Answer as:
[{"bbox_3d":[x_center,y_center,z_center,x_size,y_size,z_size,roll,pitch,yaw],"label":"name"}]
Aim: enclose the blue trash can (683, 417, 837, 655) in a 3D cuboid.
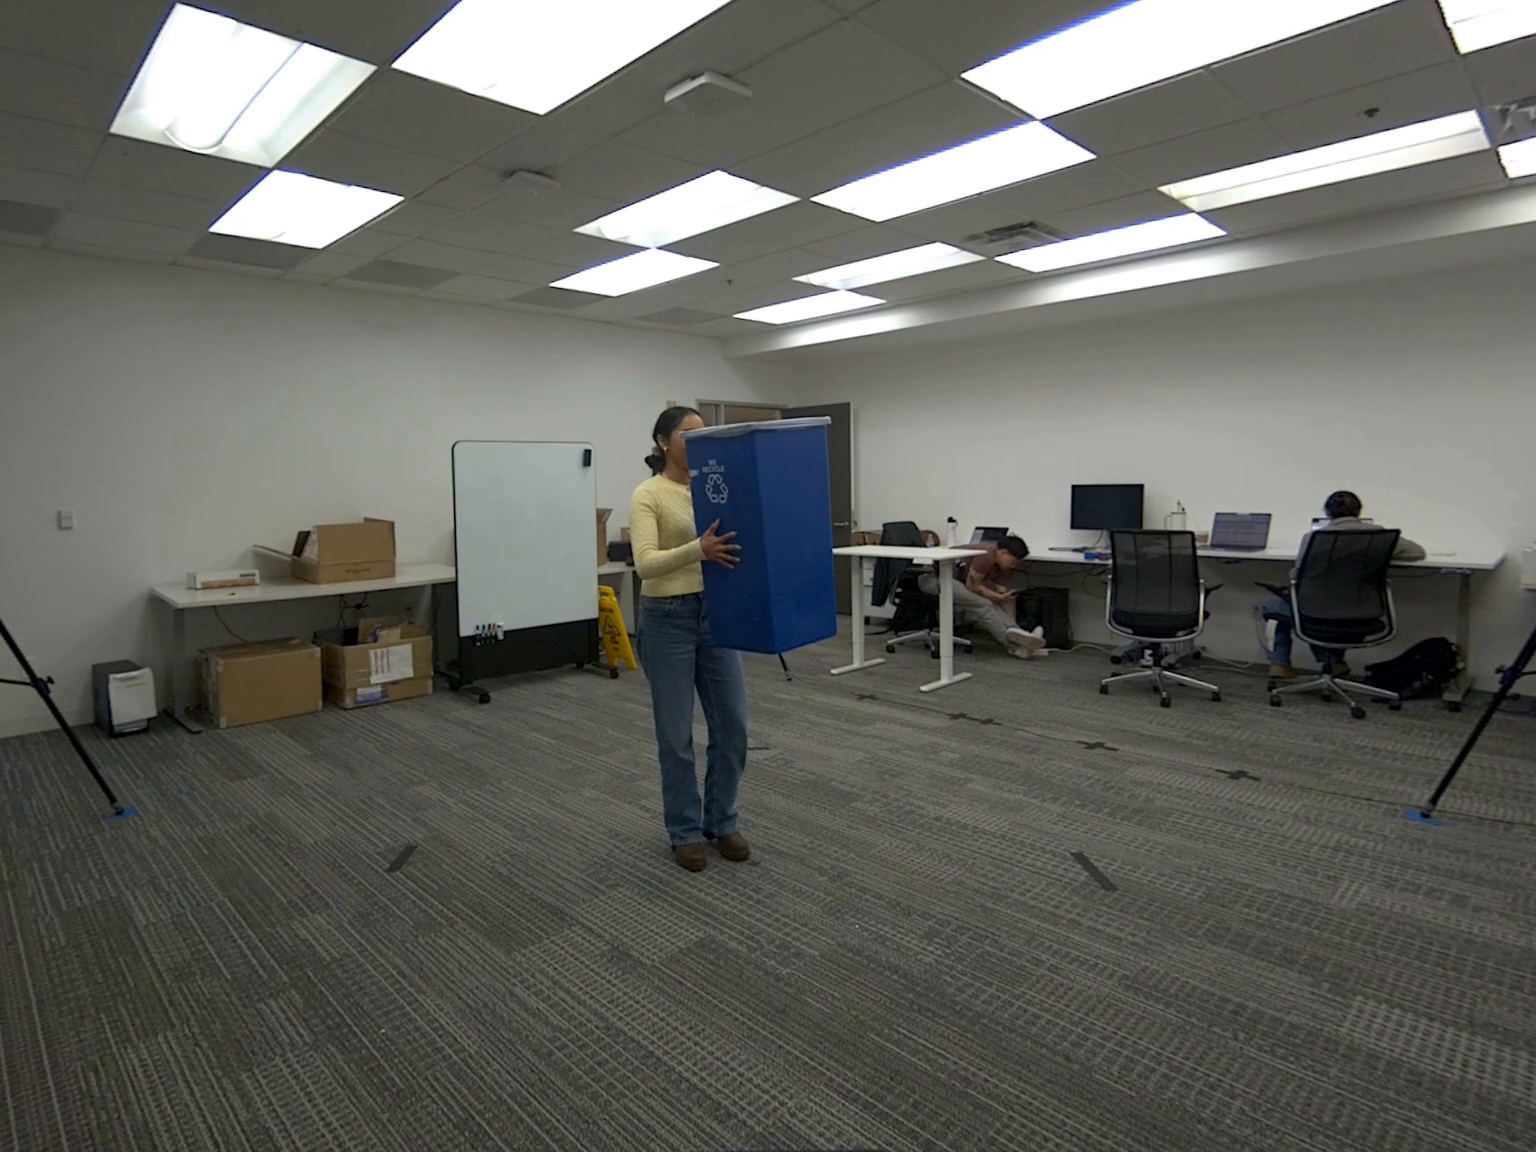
[{"bbox_3d":[-0.005,-0.141,2.787,0.369,0.709,0.385,-11,8,-41],"label":"blue trash can"}]
